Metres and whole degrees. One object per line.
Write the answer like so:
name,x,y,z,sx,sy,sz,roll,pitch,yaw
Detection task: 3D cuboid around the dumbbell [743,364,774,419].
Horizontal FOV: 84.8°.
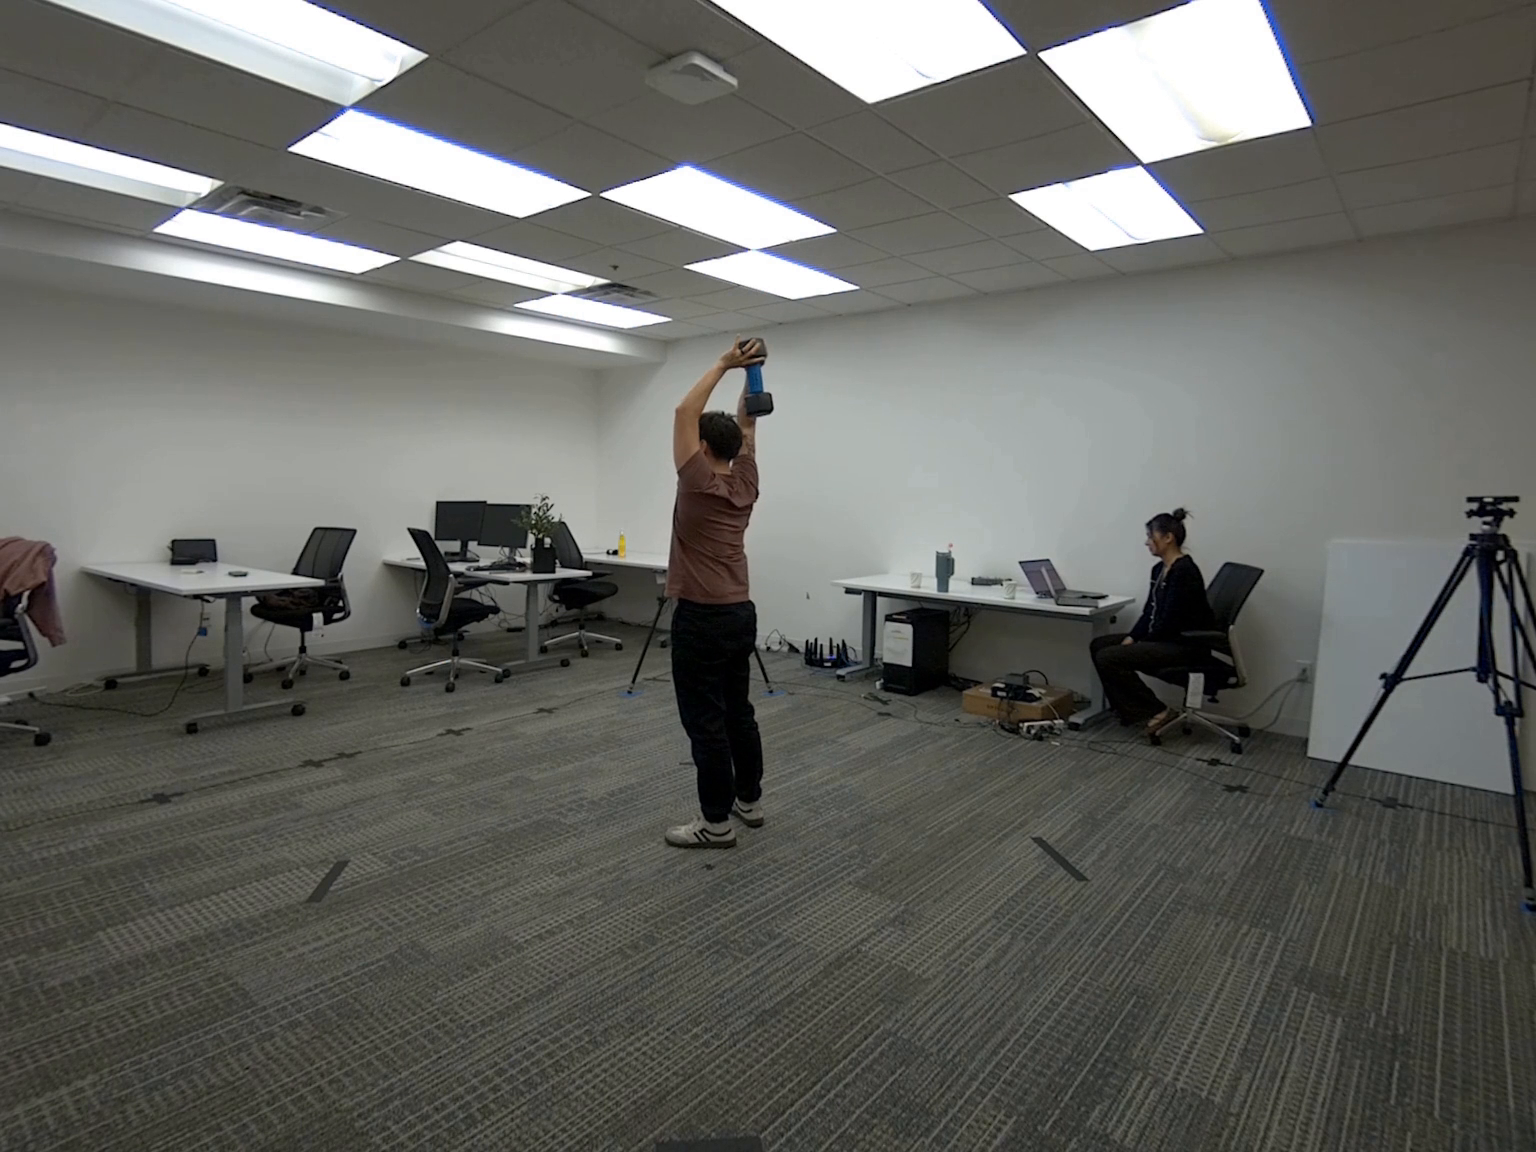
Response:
dumbbell,-0.060,-0.766,3.296,0.125,0.295,0.106,-13,-5,30
